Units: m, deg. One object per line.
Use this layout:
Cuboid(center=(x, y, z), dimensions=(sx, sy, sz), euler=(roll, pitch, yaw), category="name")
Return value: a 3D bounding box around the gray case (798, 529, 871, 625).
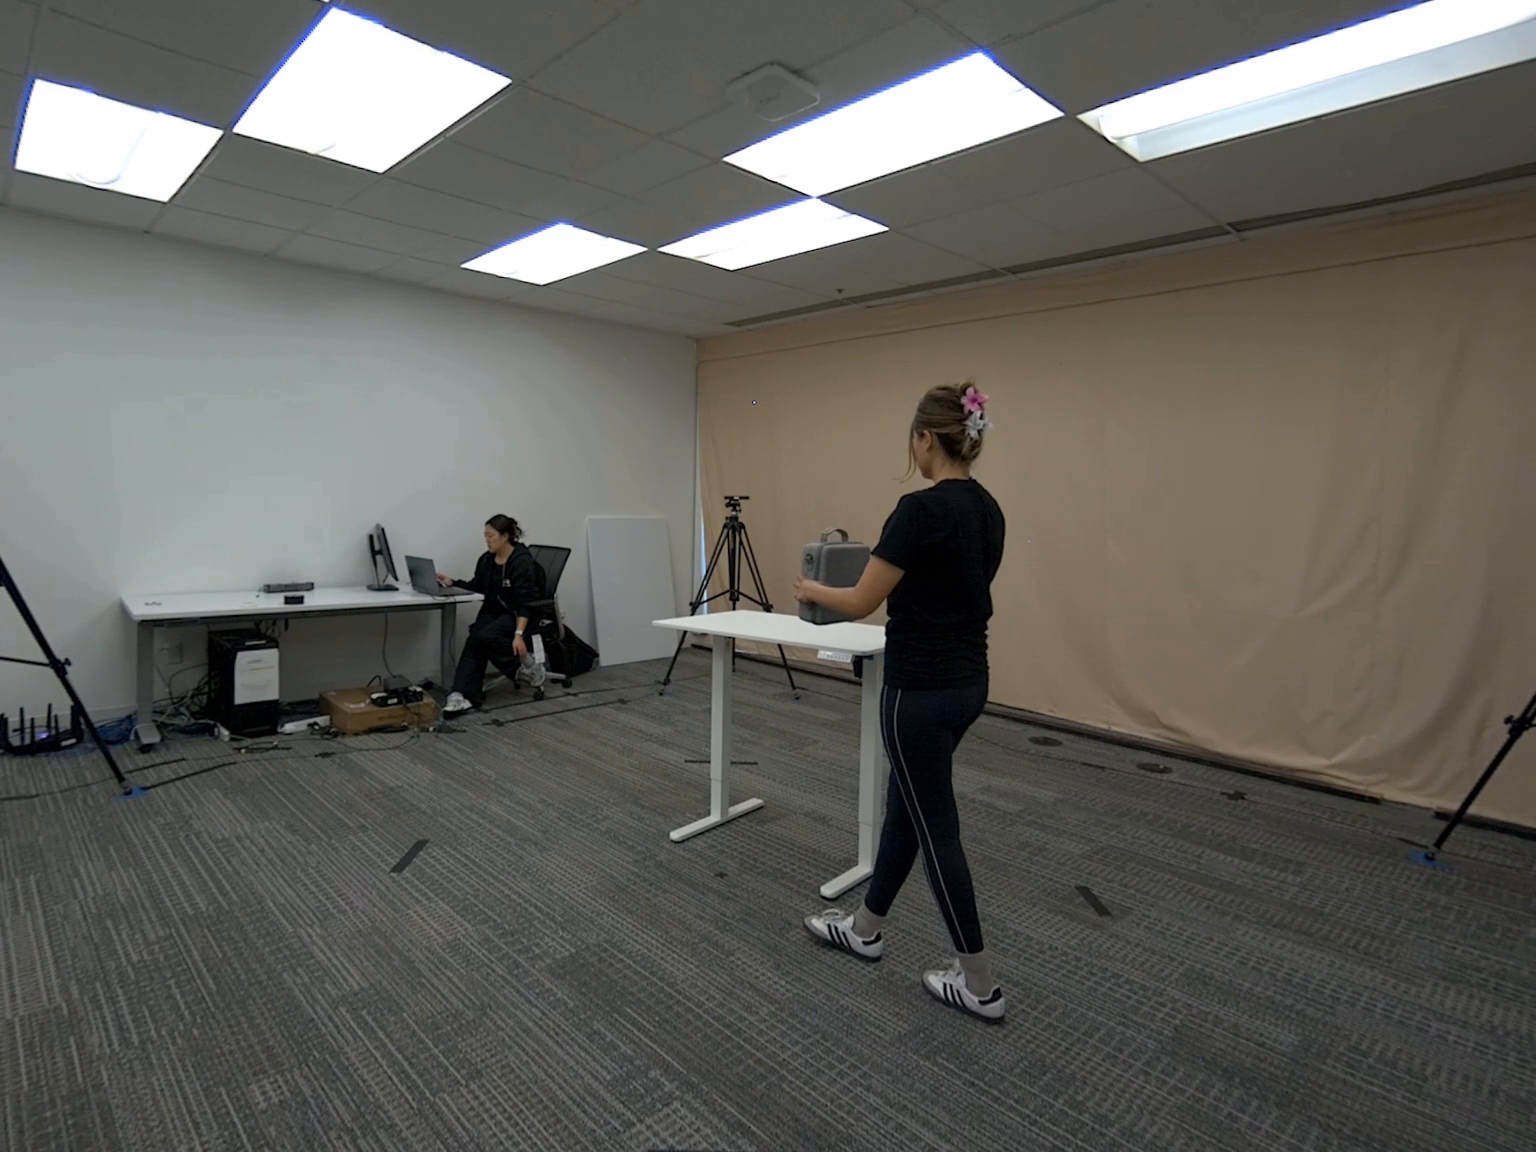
Cuboid(center=(0.206, 0.016, 2.660), dimensions=(0.107, 0.260, 0.251), euler=(8, 6, 40), category="gray case")
